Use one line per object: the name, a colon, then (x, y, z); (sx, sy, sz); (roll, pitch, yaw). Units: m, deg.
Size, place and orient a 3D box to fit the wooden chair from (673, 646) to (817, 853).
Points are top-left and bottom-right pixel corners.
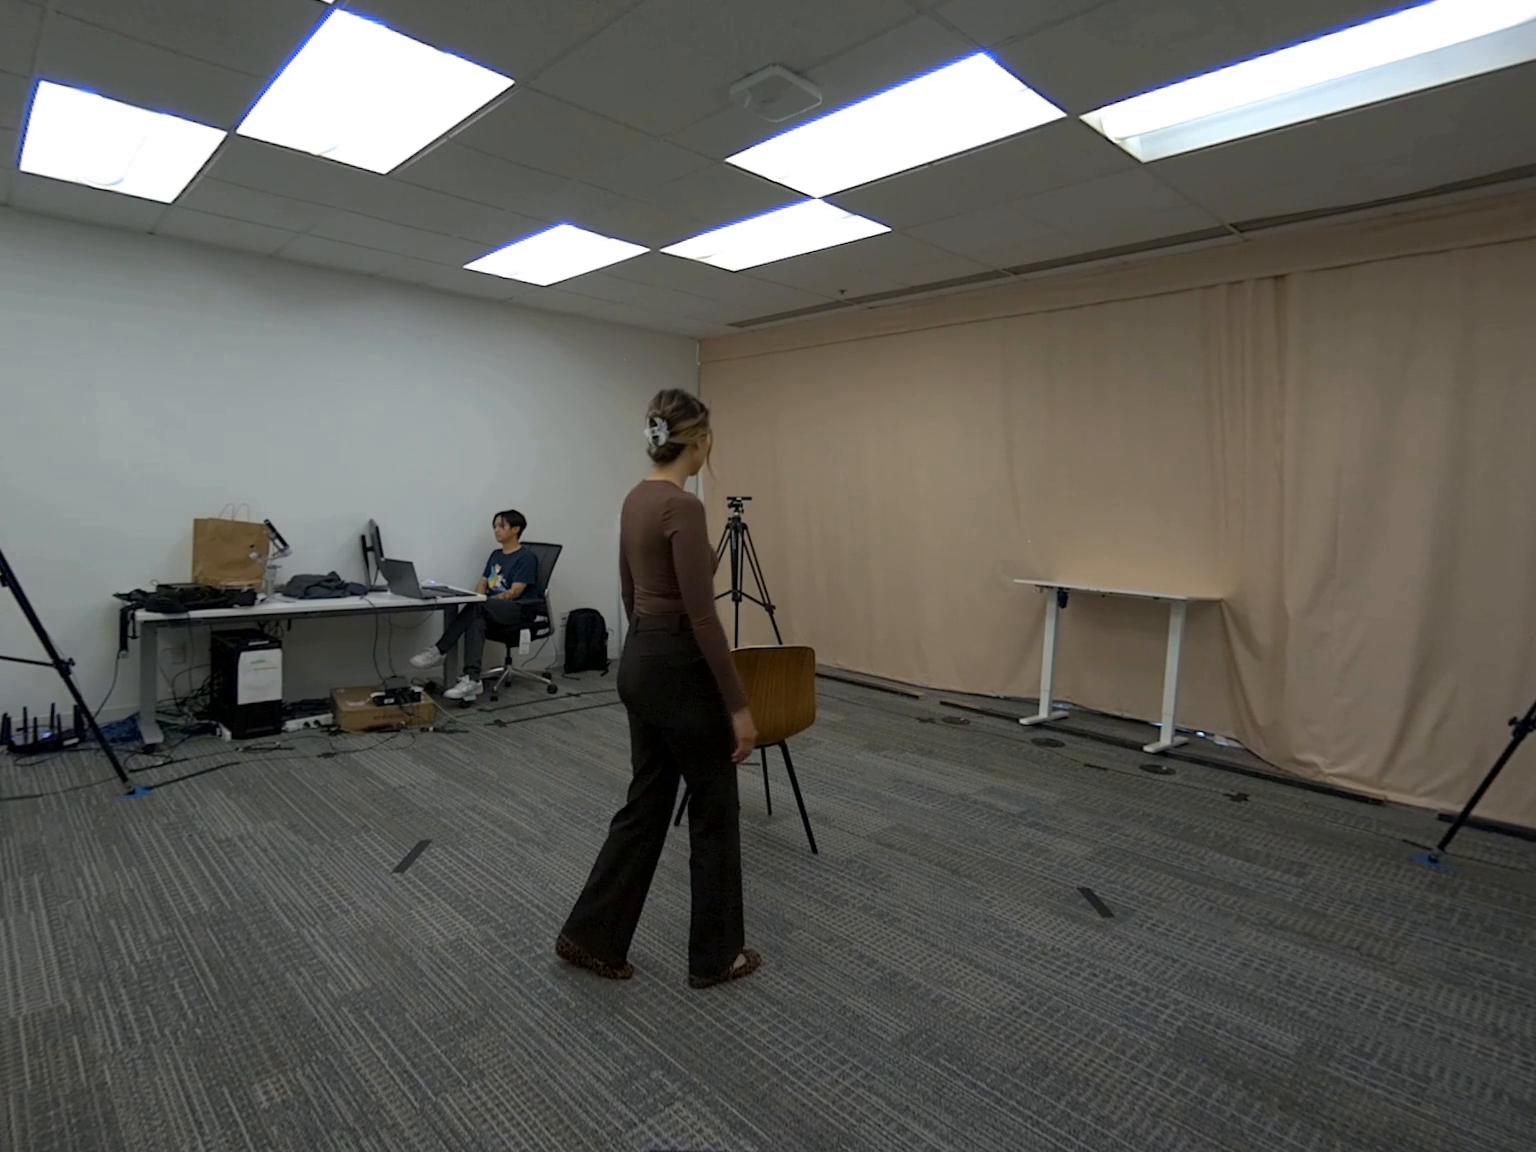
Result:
wooden chair: (-0.095, 0.656, 3.423); (0.470, 0.873, 0.535); (0, 7, -24)
